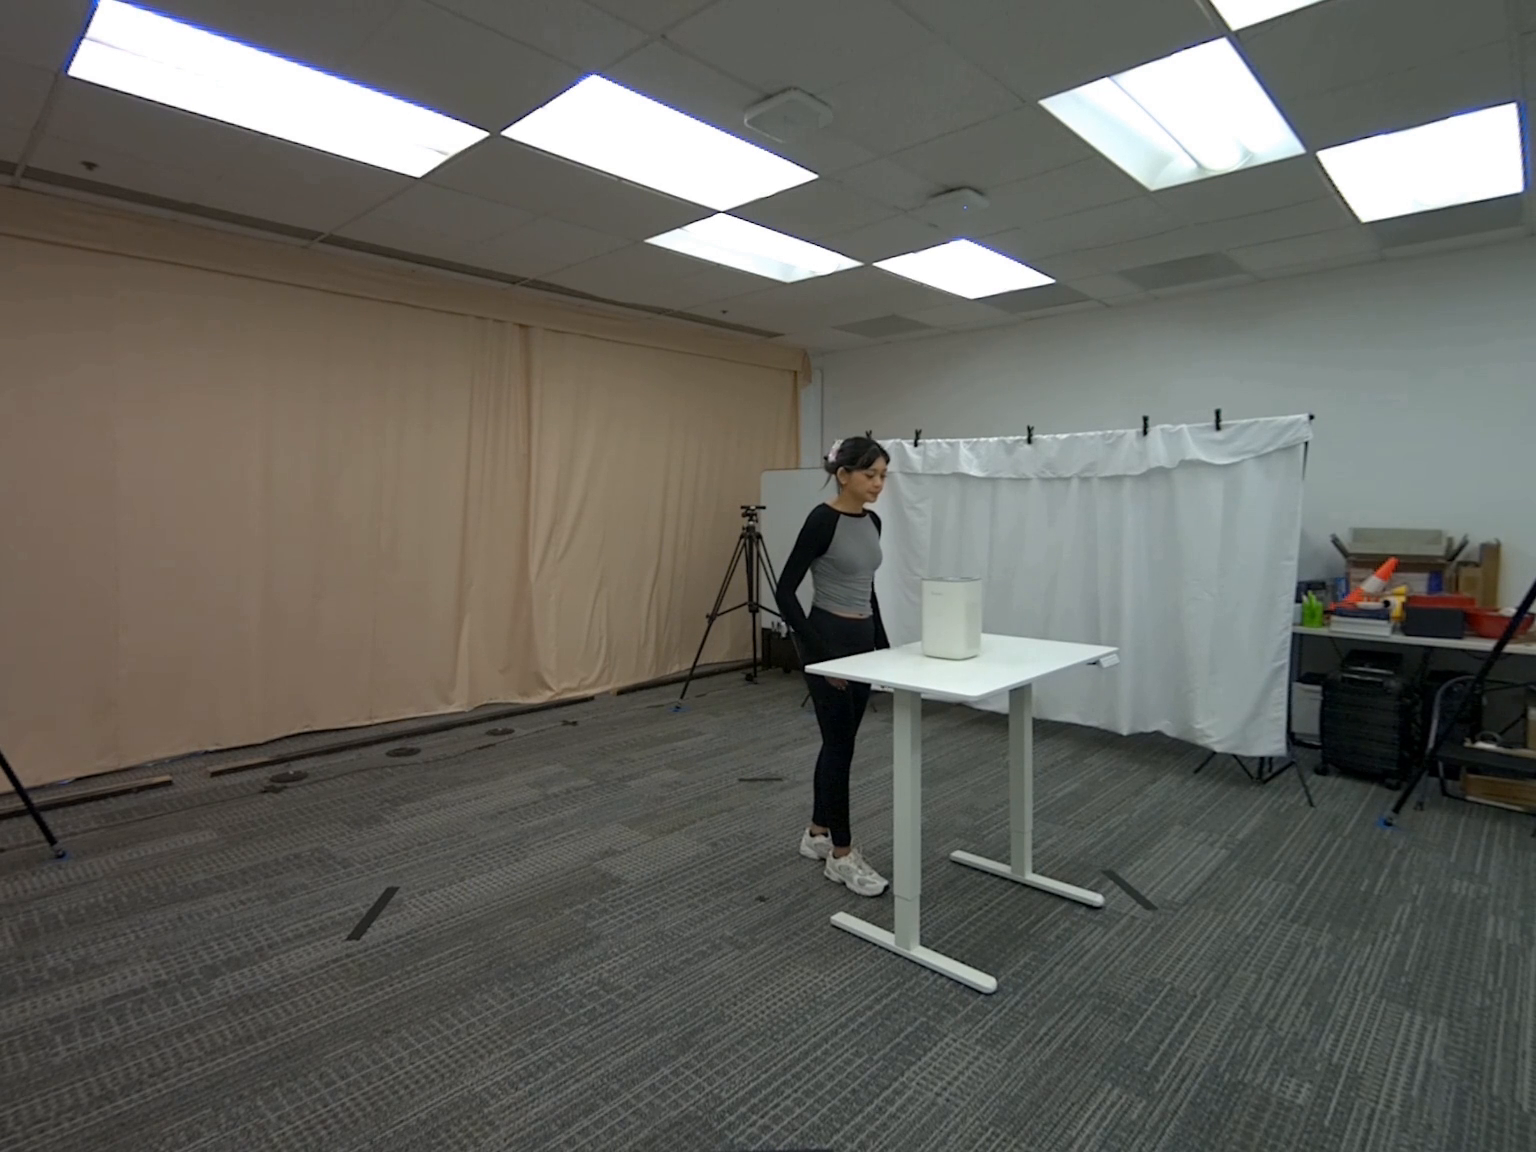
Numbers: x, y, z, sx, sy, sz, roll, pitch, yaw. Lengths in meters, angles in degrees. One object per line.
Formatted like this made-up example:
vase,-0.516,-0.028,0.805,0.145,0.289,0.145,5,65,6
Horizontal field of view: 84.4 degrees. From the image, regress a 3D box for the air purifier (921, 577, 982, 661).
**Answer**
air purifier,0.625,0.140,2.843,0.177,0.265,0.166,3,5,44
